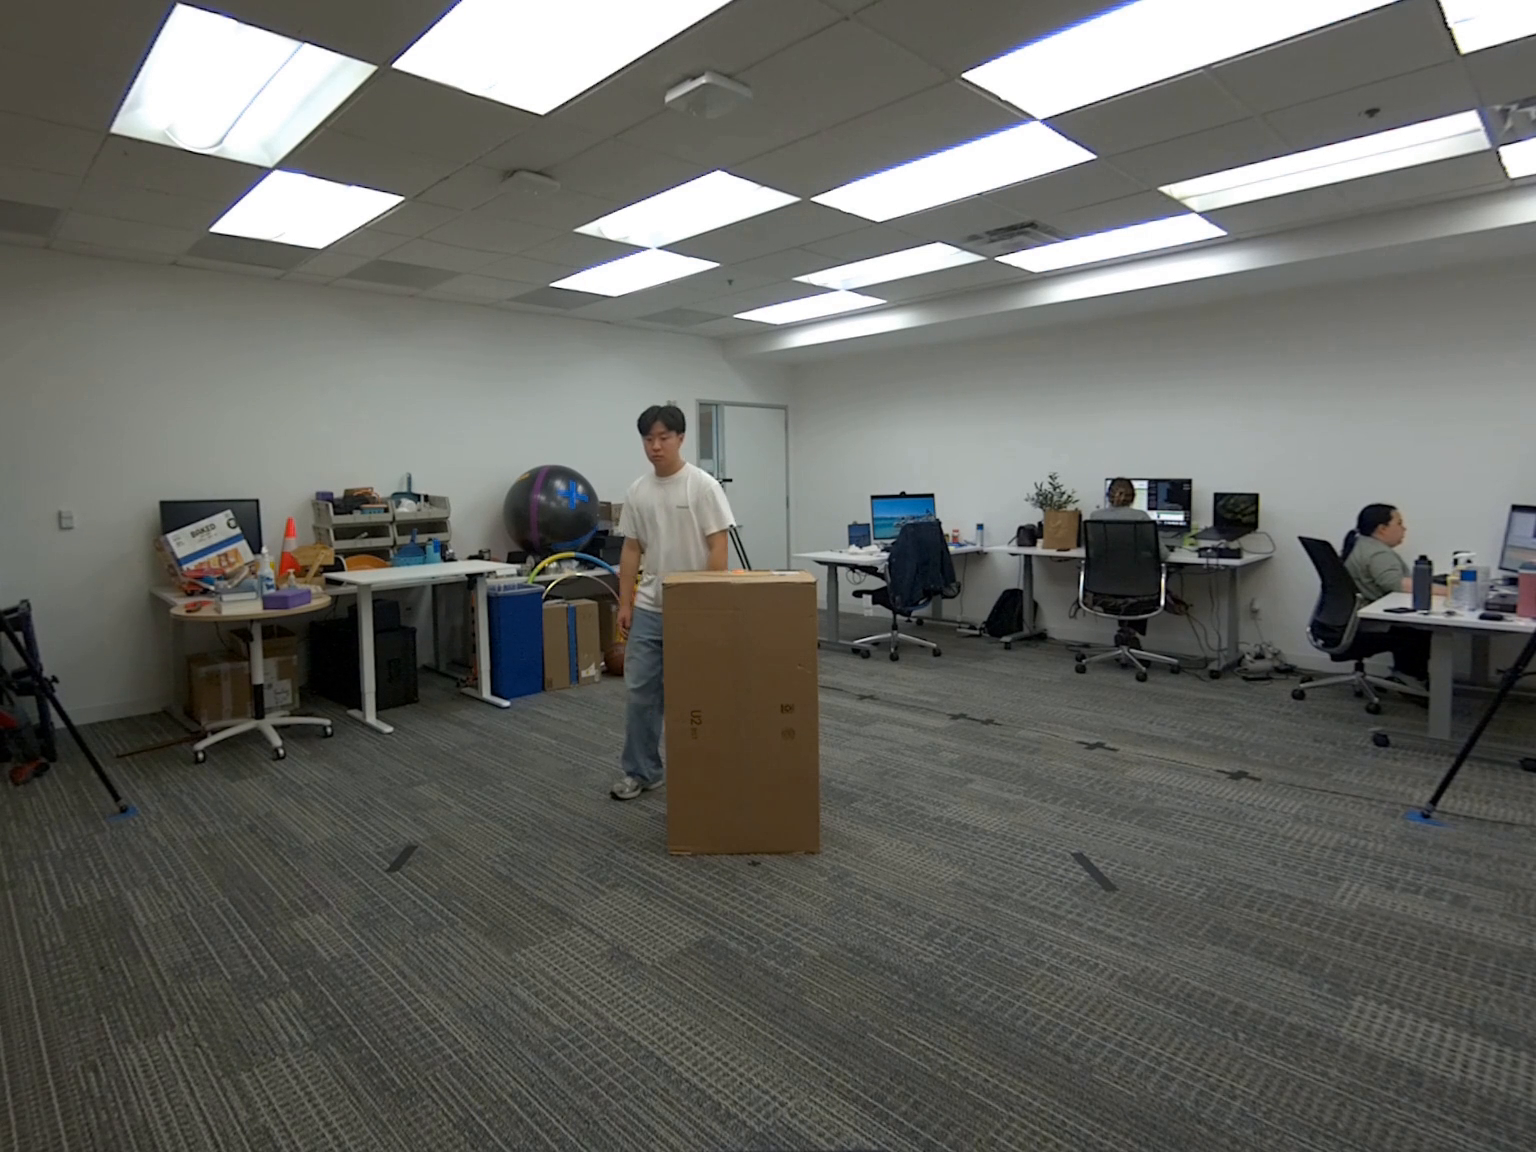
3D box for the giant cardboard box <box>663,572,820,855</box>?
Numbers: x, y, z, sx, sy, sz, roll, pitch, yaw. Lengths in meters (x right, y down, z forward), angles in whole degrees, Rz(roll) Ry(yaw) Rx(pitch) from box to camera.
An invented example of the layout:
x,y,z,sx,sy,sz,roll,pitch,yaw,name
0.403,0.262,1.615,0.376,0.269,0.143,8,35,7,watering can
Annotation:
x,y,z,sx,sy,sz,roll,pitch,yaw,name
-0.098,0.508,3.365,0.577,1.022,0.428,-1,4,-1,giant cardboard box
